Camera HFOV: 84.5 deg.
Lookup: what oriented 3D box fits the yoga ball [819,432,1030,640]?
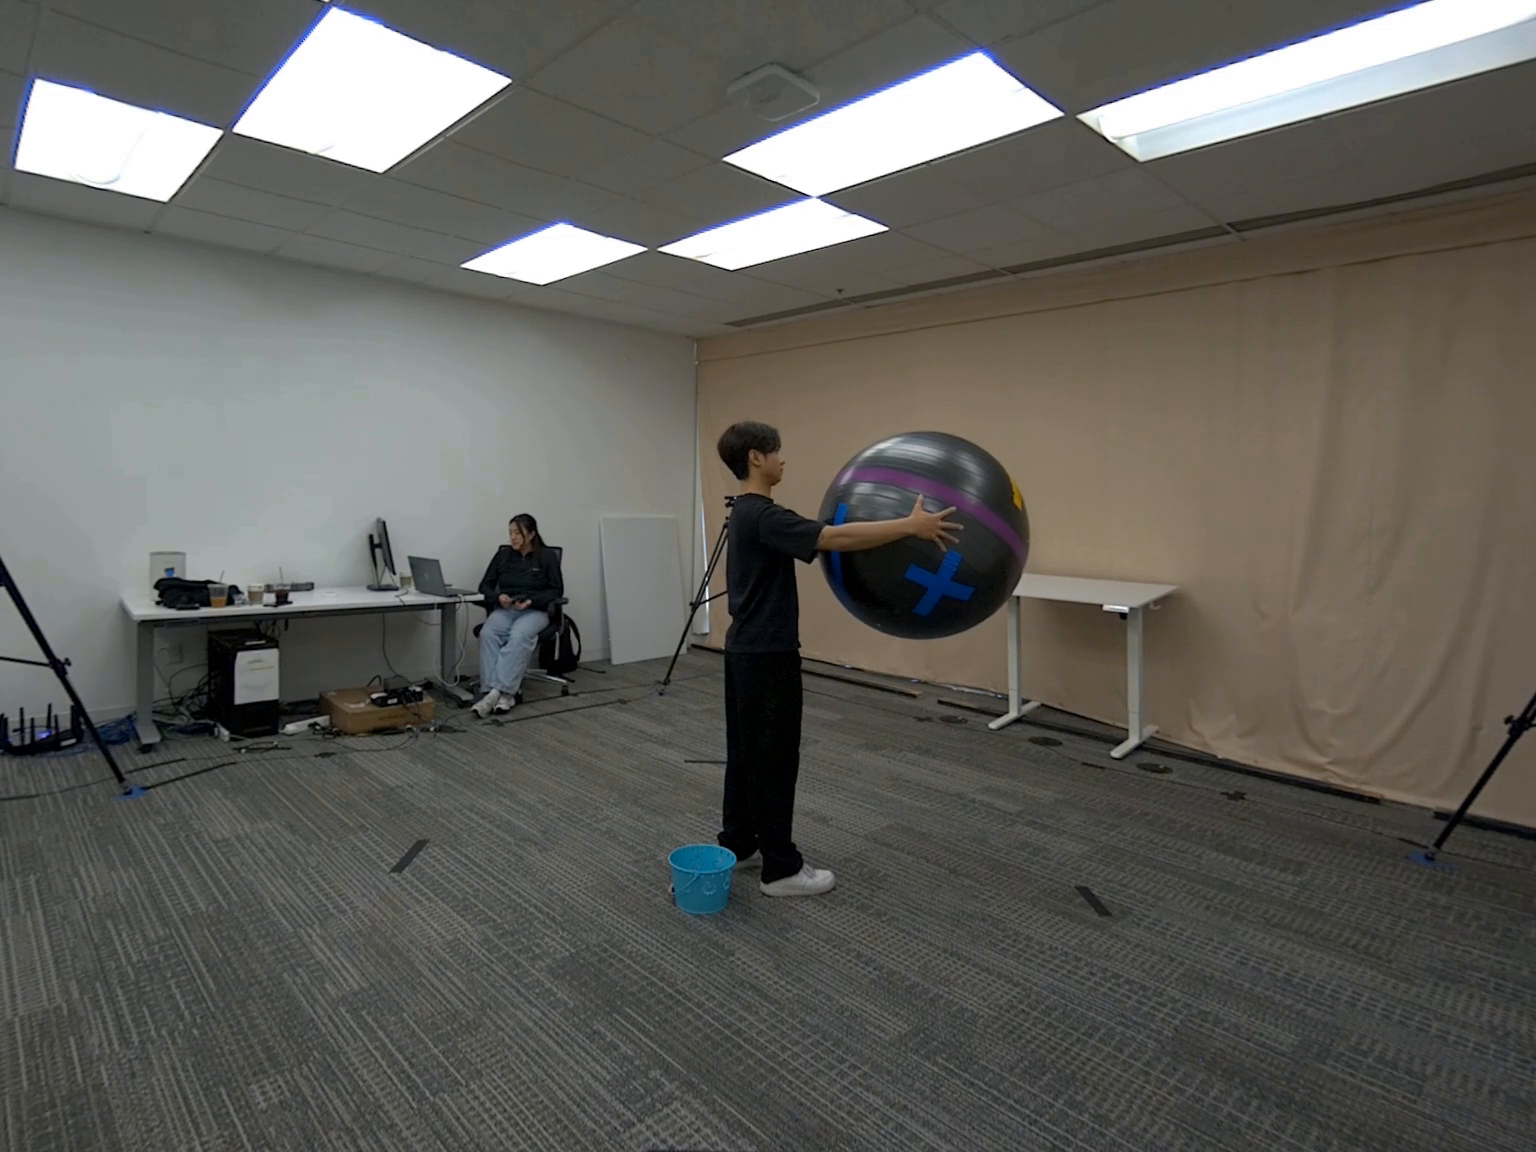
[{"bbox_3d":[0.563,-0.143,3.096,0.757,0.756,0.761,1,4,-1],"label":"yoga ball"}]
